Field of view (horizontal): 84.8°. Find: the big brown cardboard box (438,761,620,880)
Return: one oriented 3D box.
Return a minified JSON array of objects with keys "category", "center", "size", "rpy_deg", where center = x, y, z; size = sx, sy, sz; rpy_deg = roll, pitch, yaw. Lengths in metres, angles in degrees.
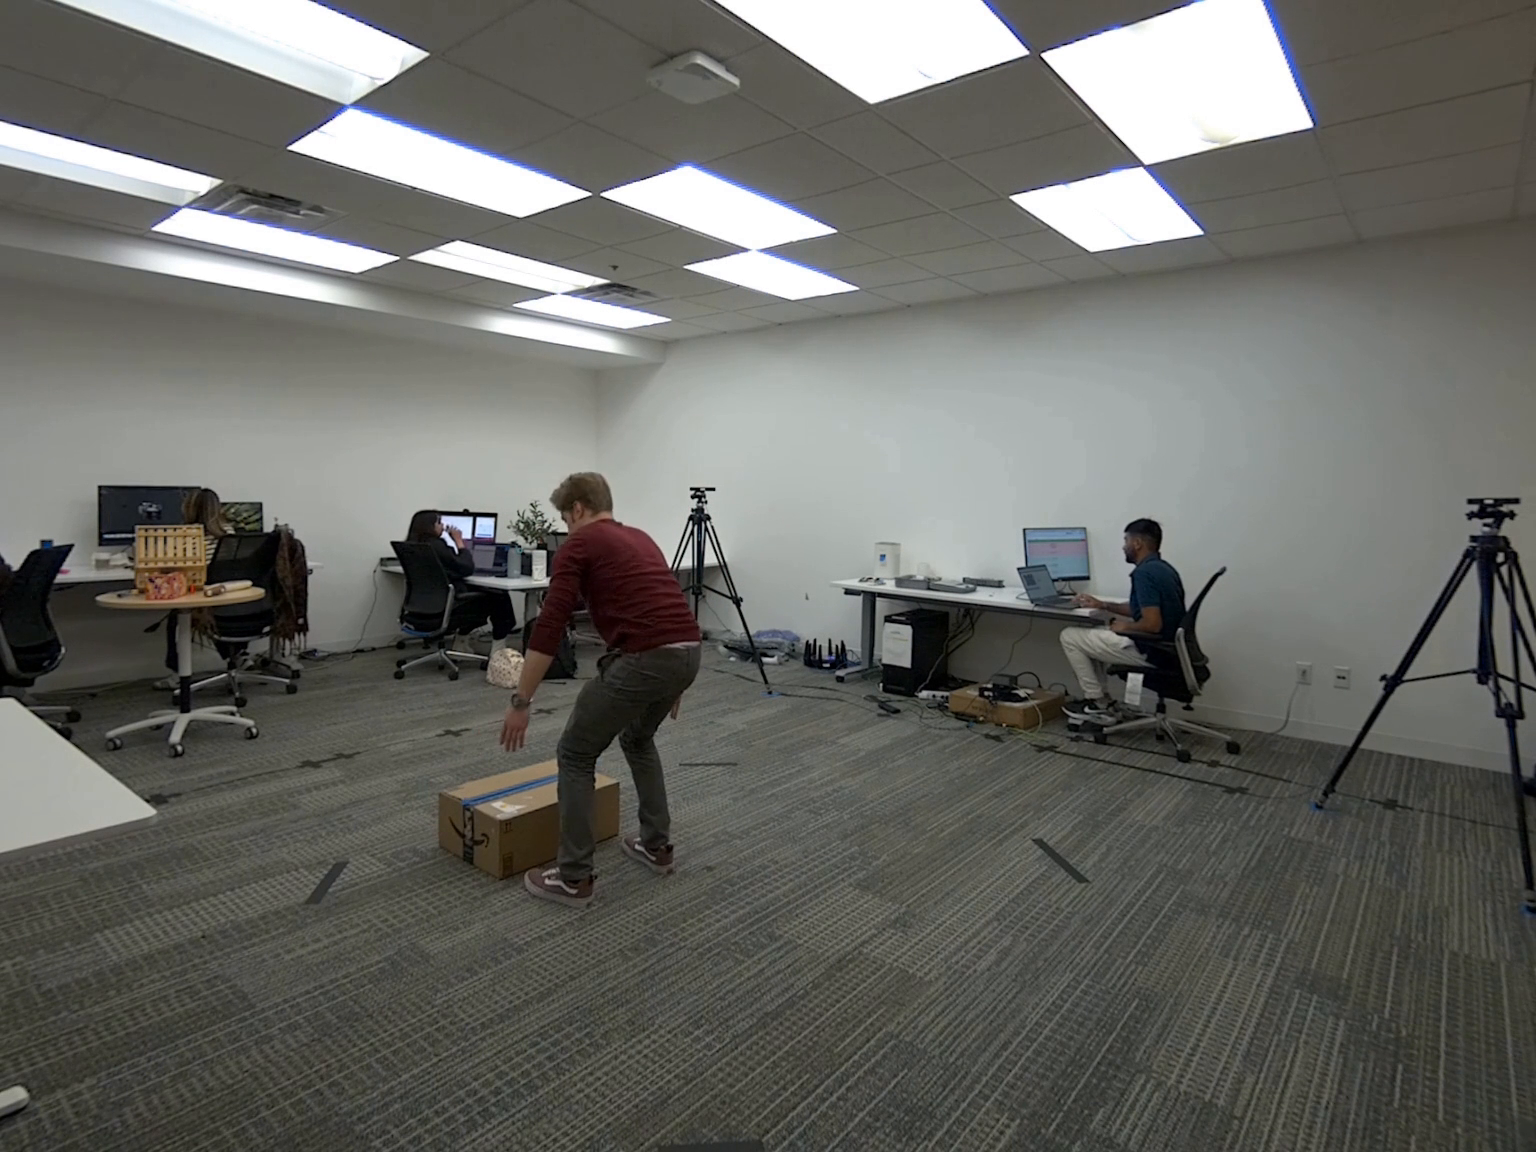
[{"category":"big brown cardboard box","center":[-0.940,0.923,3.318],"size":[0.432,0.232,0.571],"rpy_deg":[5,6,39]}]
